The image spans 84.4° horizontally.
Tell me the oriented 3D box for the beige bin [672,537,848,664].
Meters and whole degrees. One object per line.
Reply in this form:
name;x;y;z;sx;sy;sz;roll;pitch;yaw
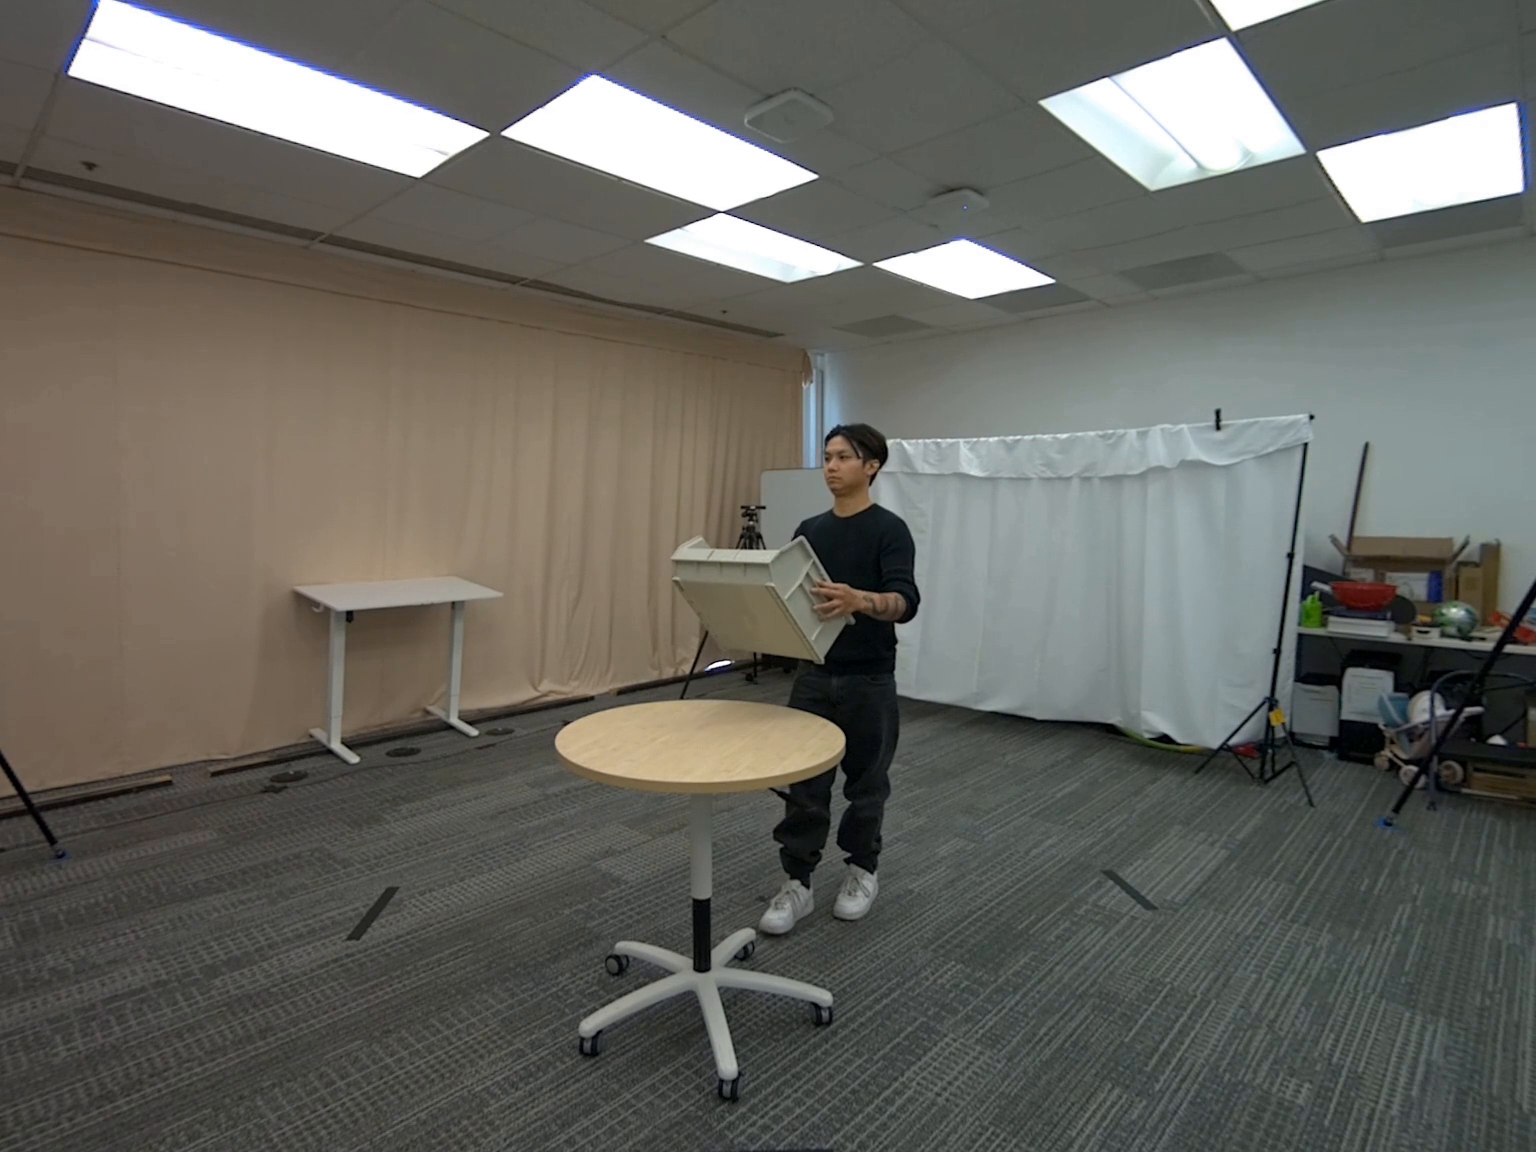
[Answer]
beige bin;-0.030;0.056;2.466;0.436;0.367;0.188;1;44;44
